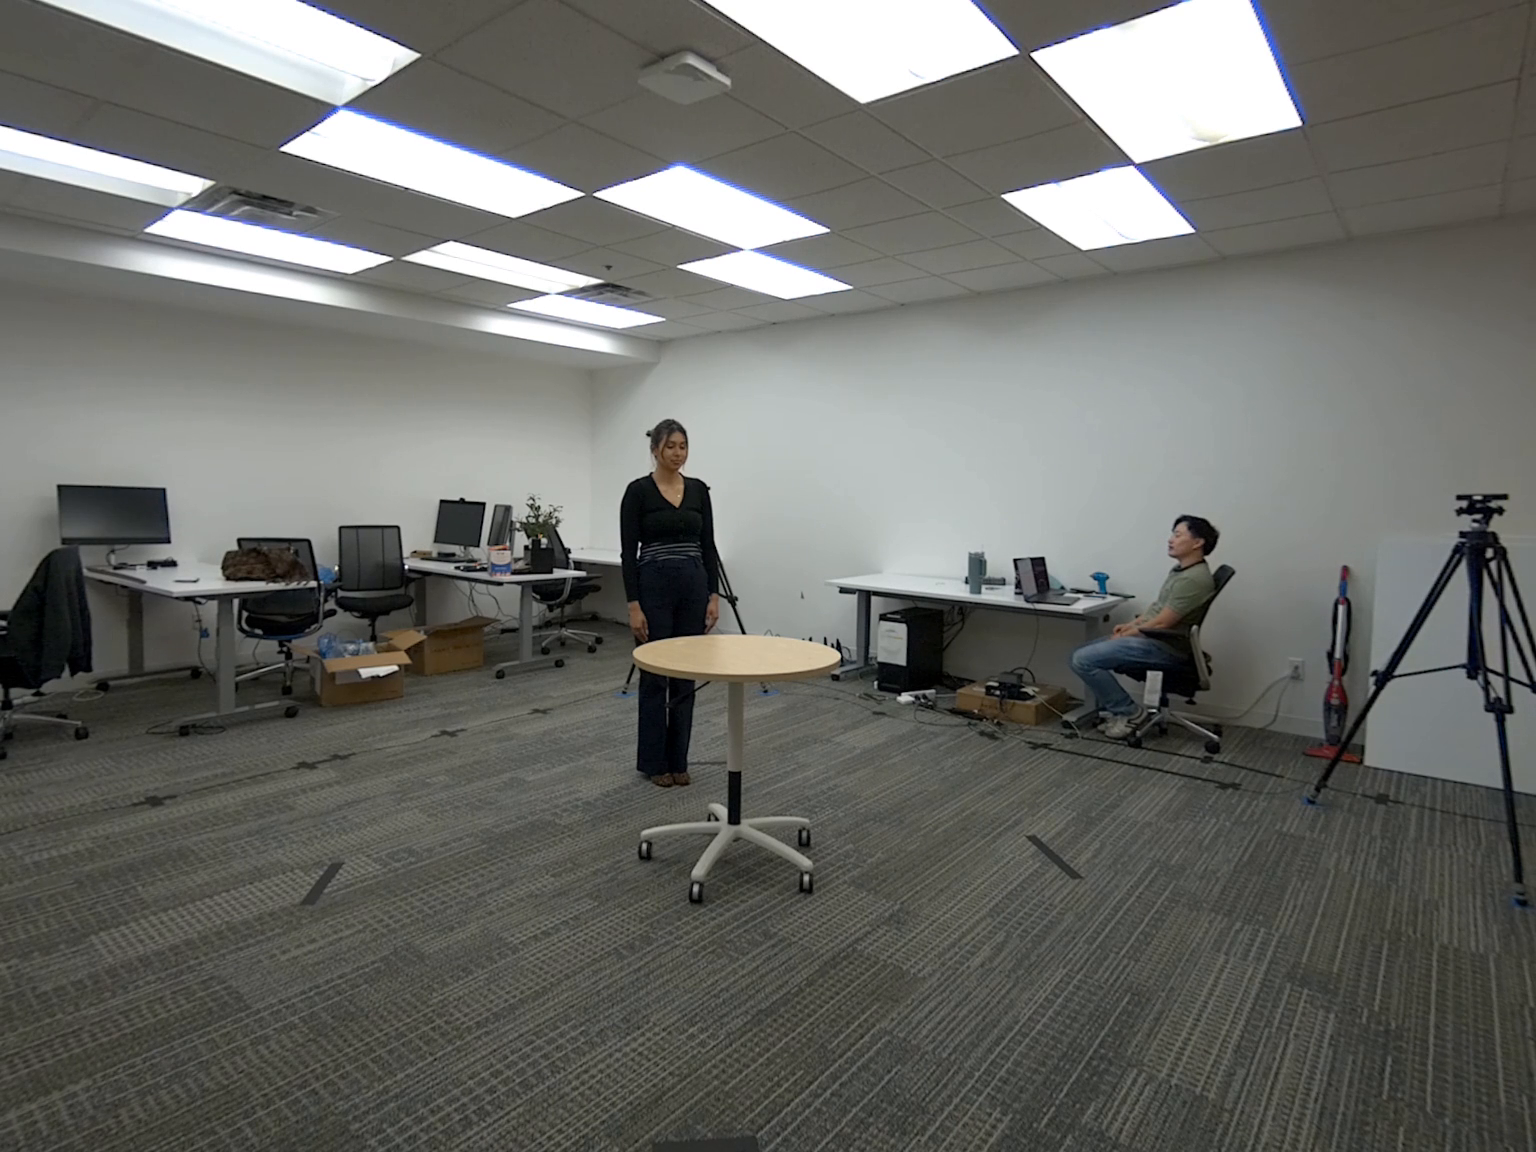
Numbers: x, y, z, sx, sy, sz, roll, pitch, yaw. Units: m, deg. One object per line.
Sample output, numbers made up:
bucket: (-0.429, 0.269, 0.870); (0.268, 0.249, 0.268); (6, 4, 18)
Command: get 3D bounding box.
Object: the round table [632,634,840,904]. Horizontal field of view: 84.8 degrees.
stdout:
round table: (-0.135, 0.674, 3.162); (0.763, 0.791, 0.768); (1, 4, -2)
